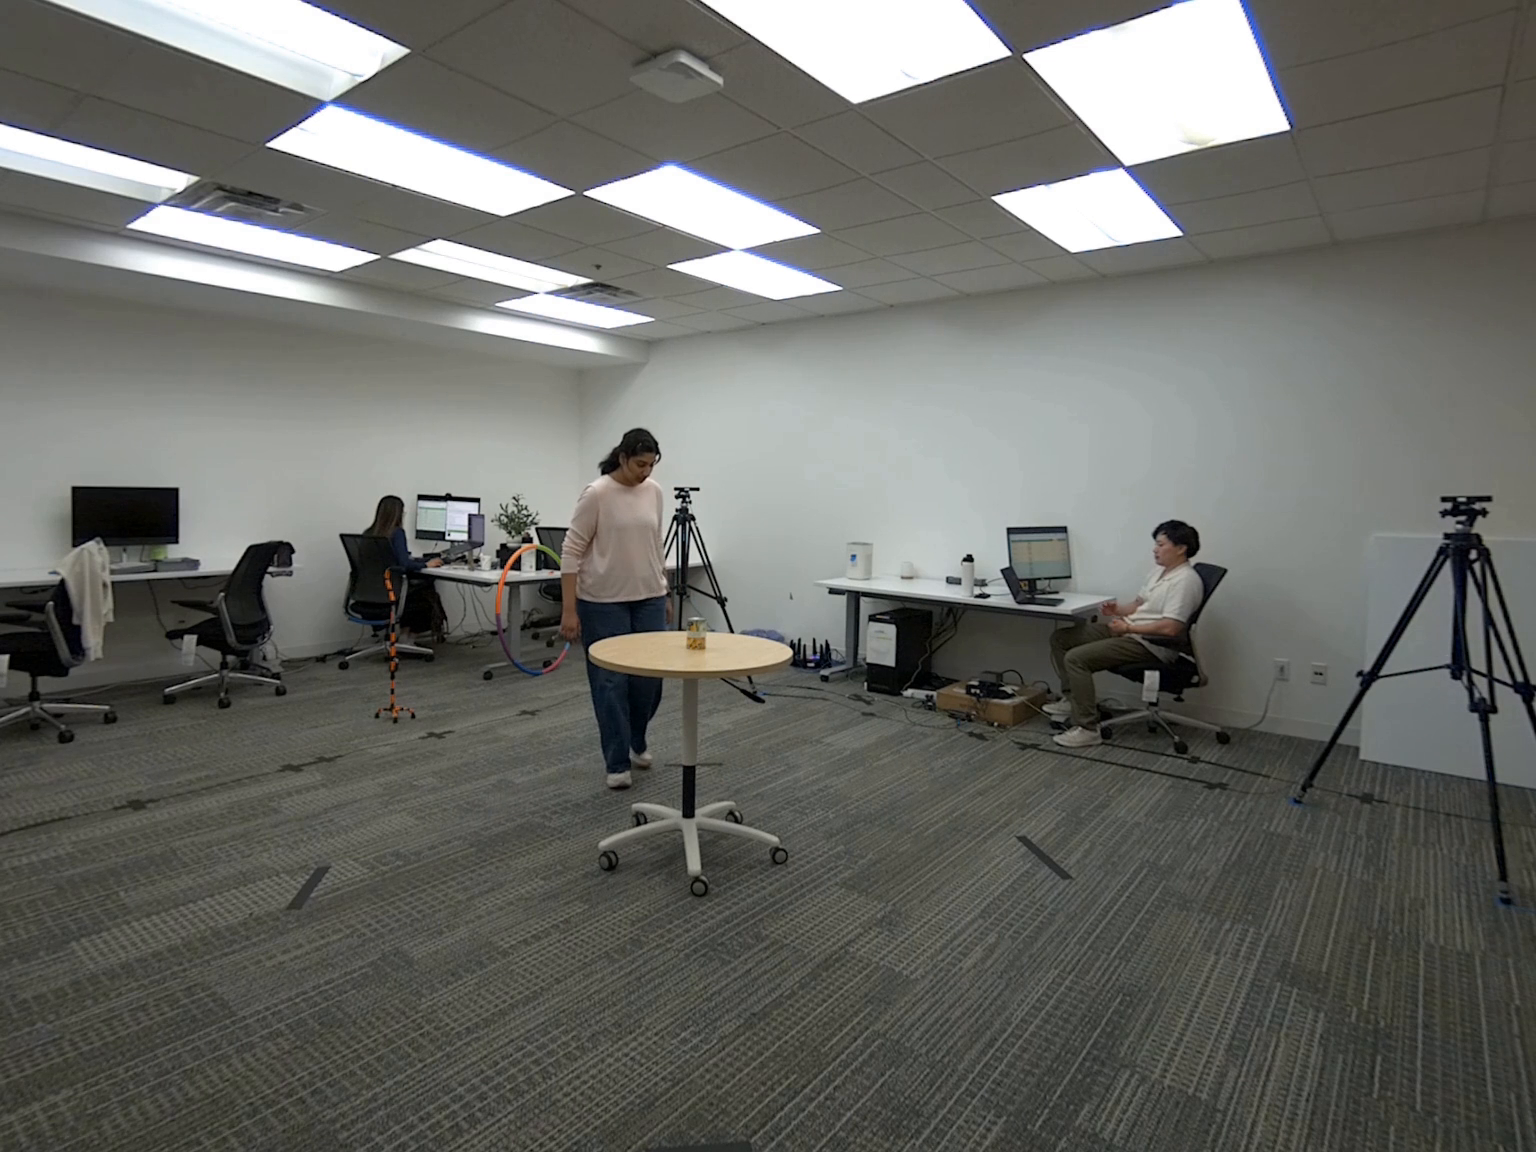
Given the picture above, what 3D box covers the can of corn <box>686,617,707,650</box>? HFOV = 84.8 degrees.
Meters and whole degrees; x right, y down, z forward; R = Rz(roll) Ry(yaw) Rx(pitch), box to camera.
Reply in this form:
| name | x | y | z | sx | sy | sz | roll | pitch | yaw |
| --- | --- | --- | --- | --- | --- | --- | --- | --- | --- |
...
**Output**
| name | x | y | z | sx | sy | sz | roll | pitch | yaw |
| --- | --- | --- | --- | --- | --- | --- | --- | --- | --- |
| can of corn | -0.281 | 0.216 | 3.220 | 0.074 | 0.111 | 0.074 | -1 | 4 | -2 |
